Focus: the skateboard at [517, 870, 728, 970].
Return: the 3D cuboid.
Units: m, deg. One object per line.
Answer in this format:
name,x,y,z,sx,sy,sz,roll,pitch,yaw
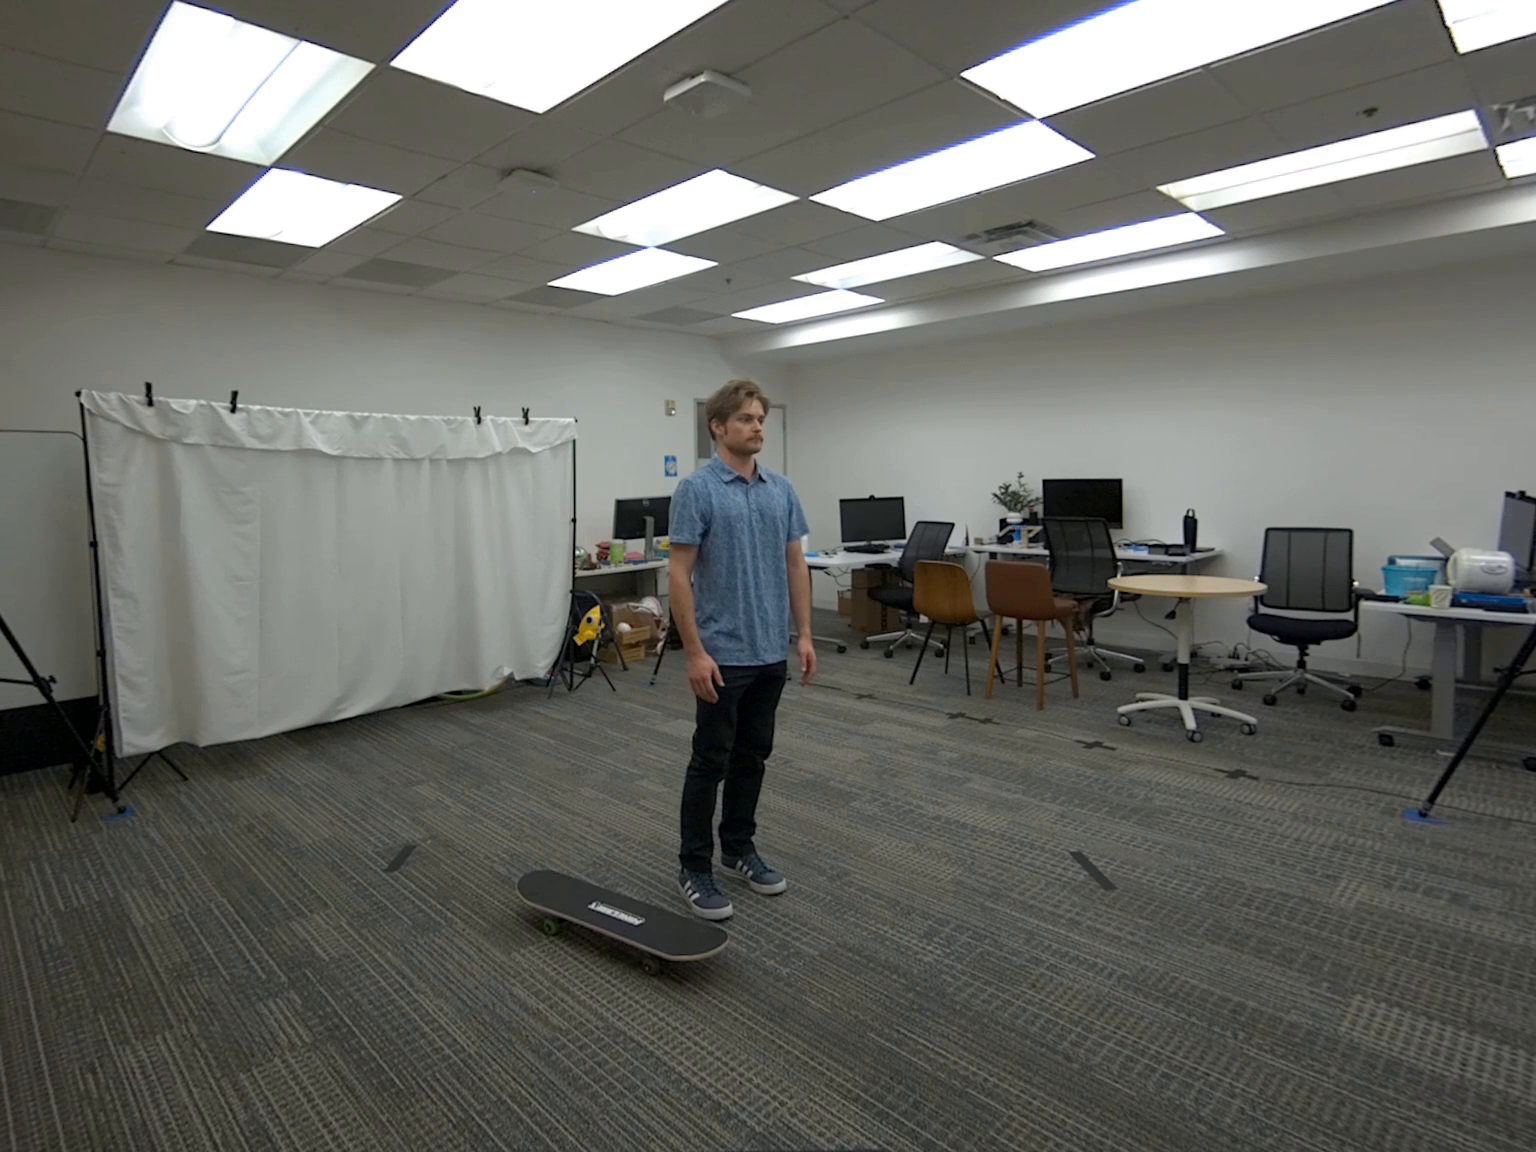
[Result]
skateboard,-0.456,1.056,2.591,0.807,0.110,0.189,3,8,33
